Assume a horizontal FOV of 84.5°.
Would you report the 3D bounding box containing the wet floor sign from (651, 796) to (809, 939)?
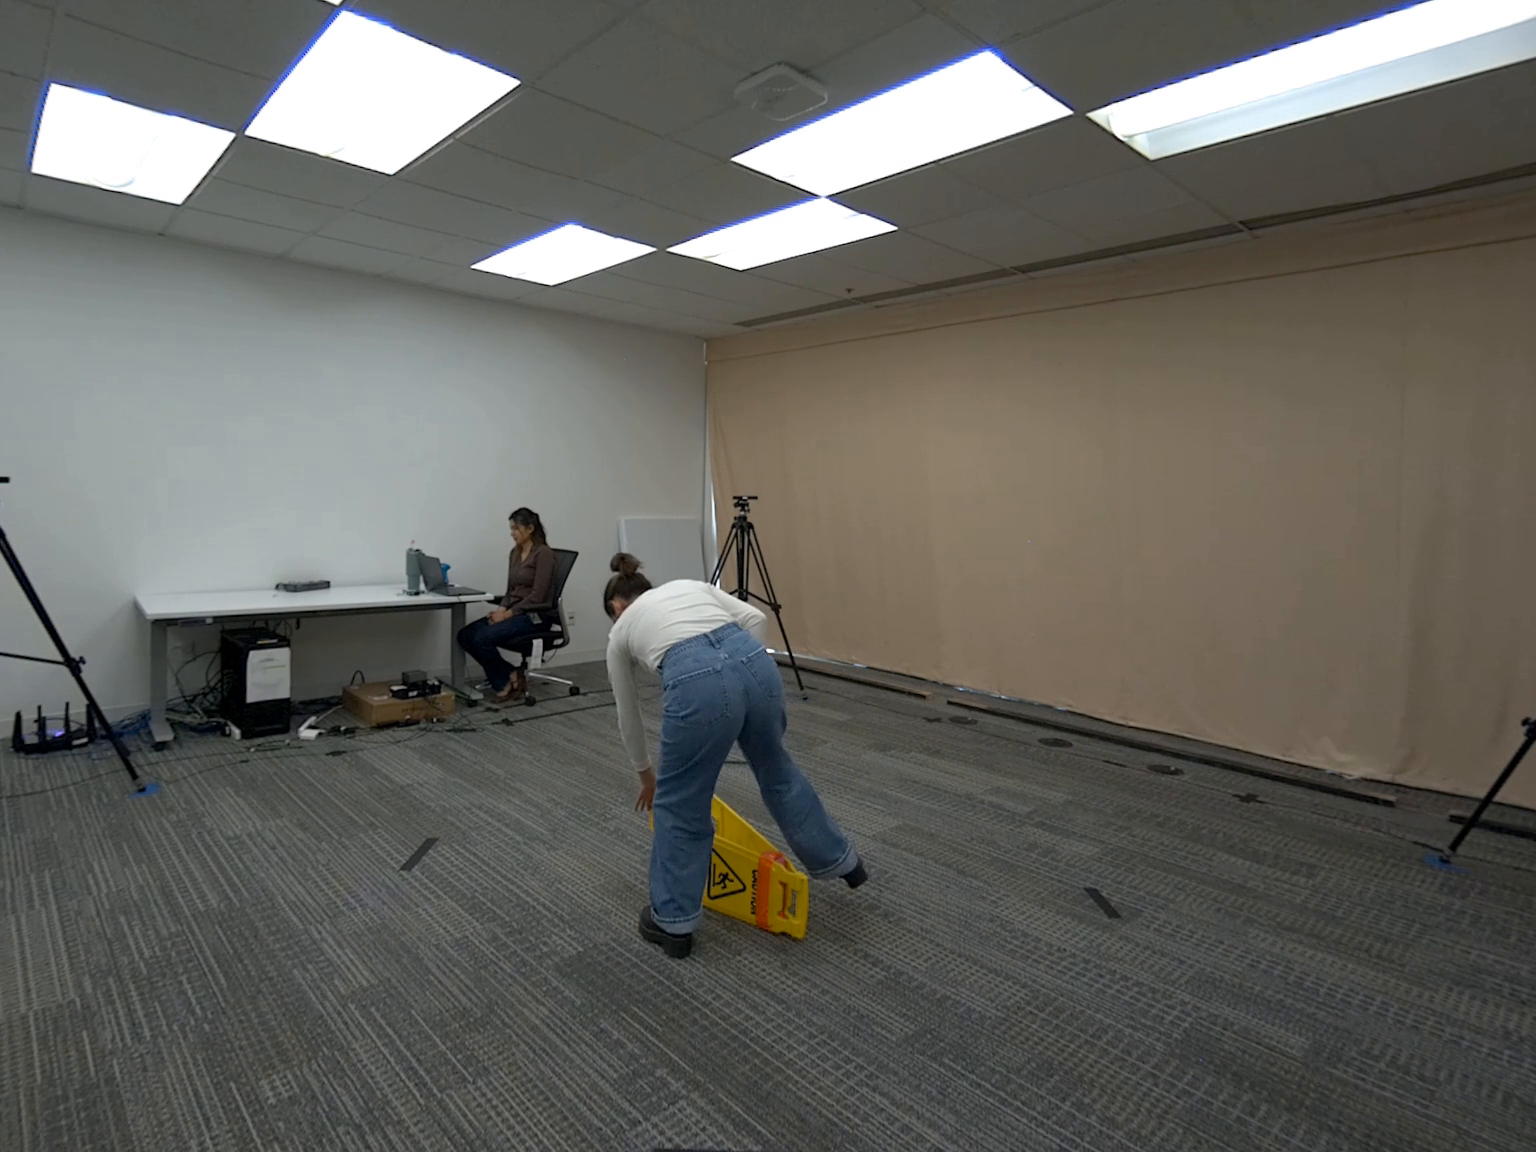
[{"bbox_3d":[-0.111,0.998,2.855,0.283,0.281,0.663,-3,8,-42],"label":"wet floor sign"}]
